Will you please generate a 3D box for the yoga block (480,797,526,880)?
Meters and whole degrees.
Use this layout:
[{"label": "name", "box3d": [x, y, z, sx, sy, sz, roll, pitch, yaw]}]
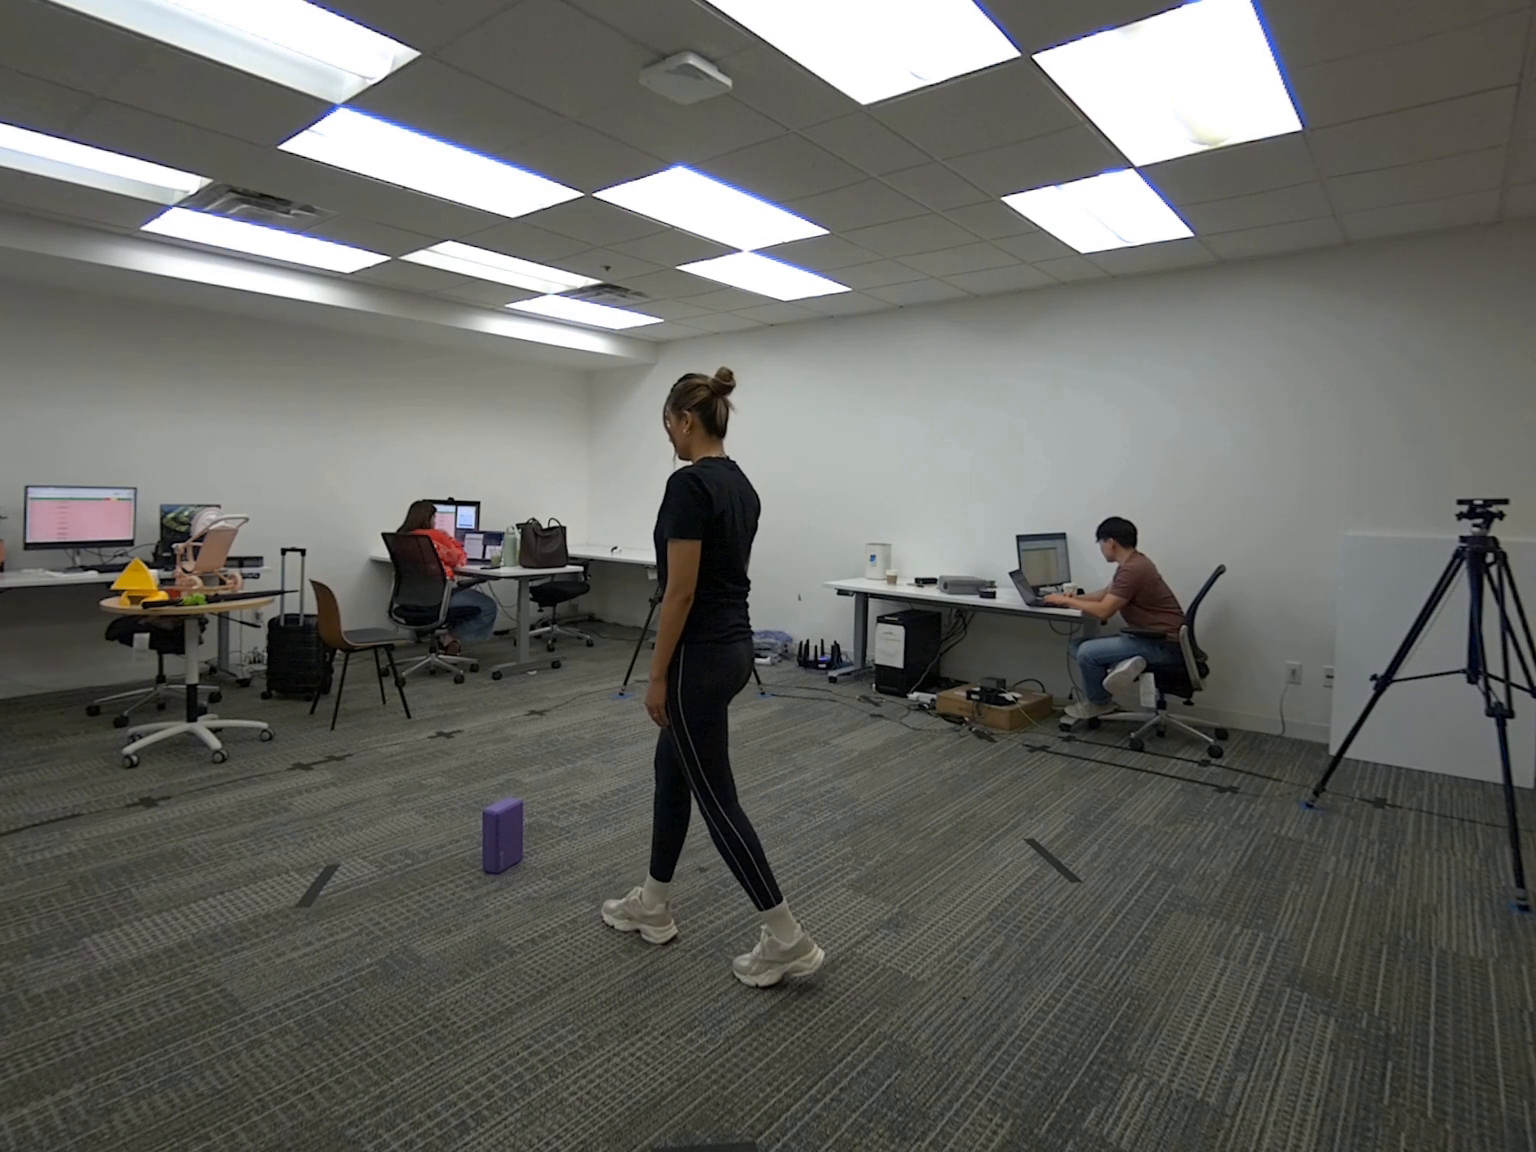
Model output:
[{"label": "yoga block", "box3d": [-0.979, 0.940, 3.098, 0.078, 0.229, 0.146, 4, 4, 23]}]
